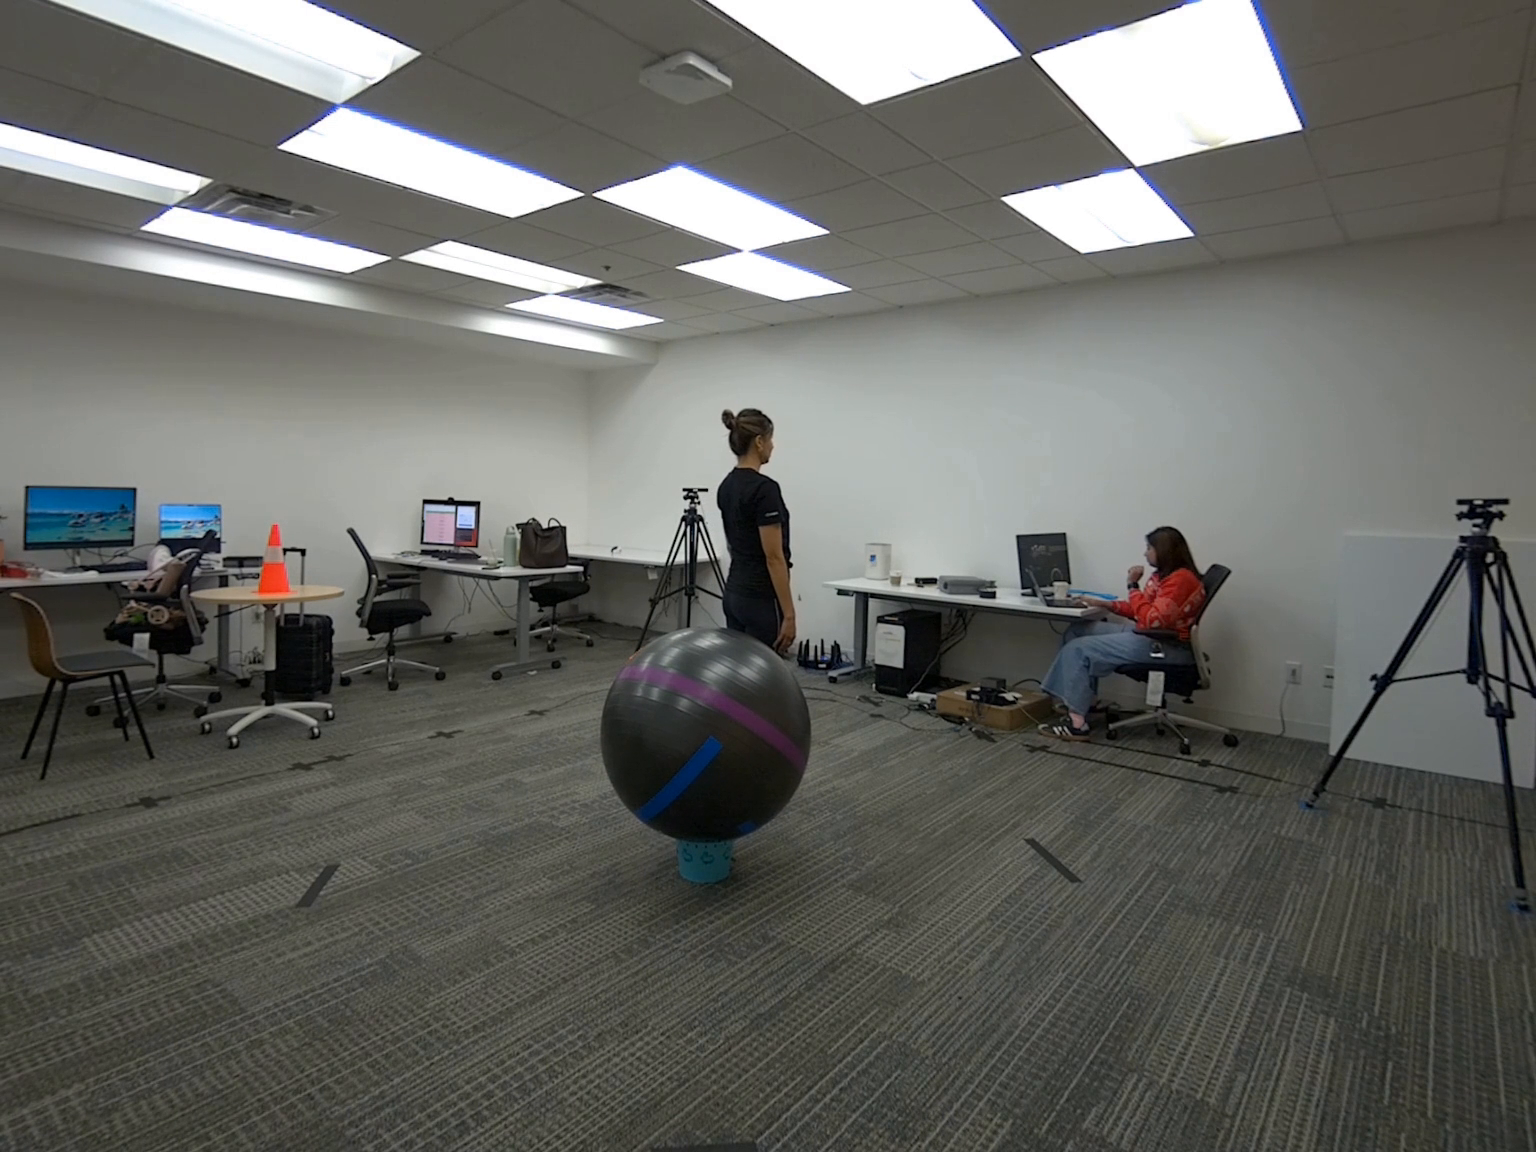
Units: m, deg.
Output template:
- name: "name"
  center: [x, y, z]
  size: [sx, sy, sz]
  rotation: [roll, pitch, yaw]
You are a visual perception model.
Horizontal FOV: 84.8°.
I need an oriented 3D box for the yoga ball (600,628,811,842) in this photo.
- name: "yoga ball"
  center: [-0.227, 0.561, 3.075]
  size: [0.757, 0.756, 0.761]
  rotation: [1, 4, -2]
